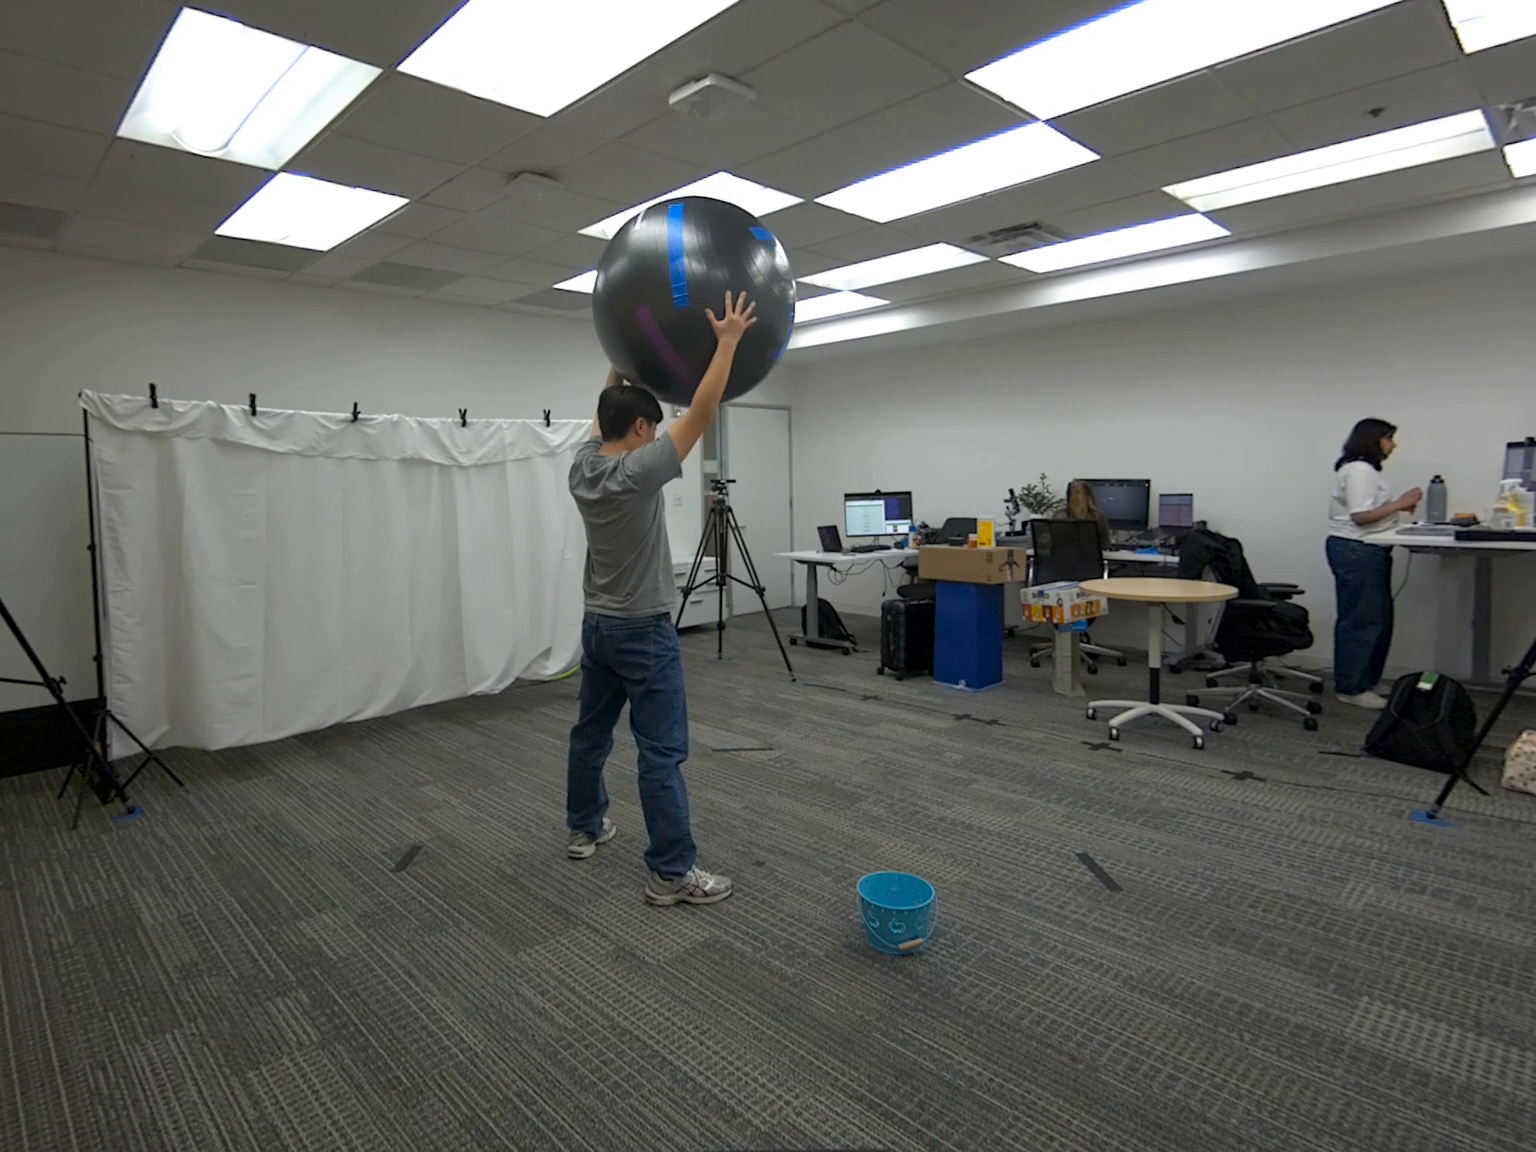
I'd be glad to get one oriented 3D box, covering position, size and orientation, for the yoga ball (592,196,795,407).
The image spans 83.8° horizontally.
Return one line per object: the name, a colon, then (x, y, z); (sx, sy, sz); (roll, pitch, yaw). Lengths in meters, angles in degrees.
yoga ball: (-0.258, -0.987, 3.191); (0.757, 0.755, 0.762); (-1, 5, -2)
